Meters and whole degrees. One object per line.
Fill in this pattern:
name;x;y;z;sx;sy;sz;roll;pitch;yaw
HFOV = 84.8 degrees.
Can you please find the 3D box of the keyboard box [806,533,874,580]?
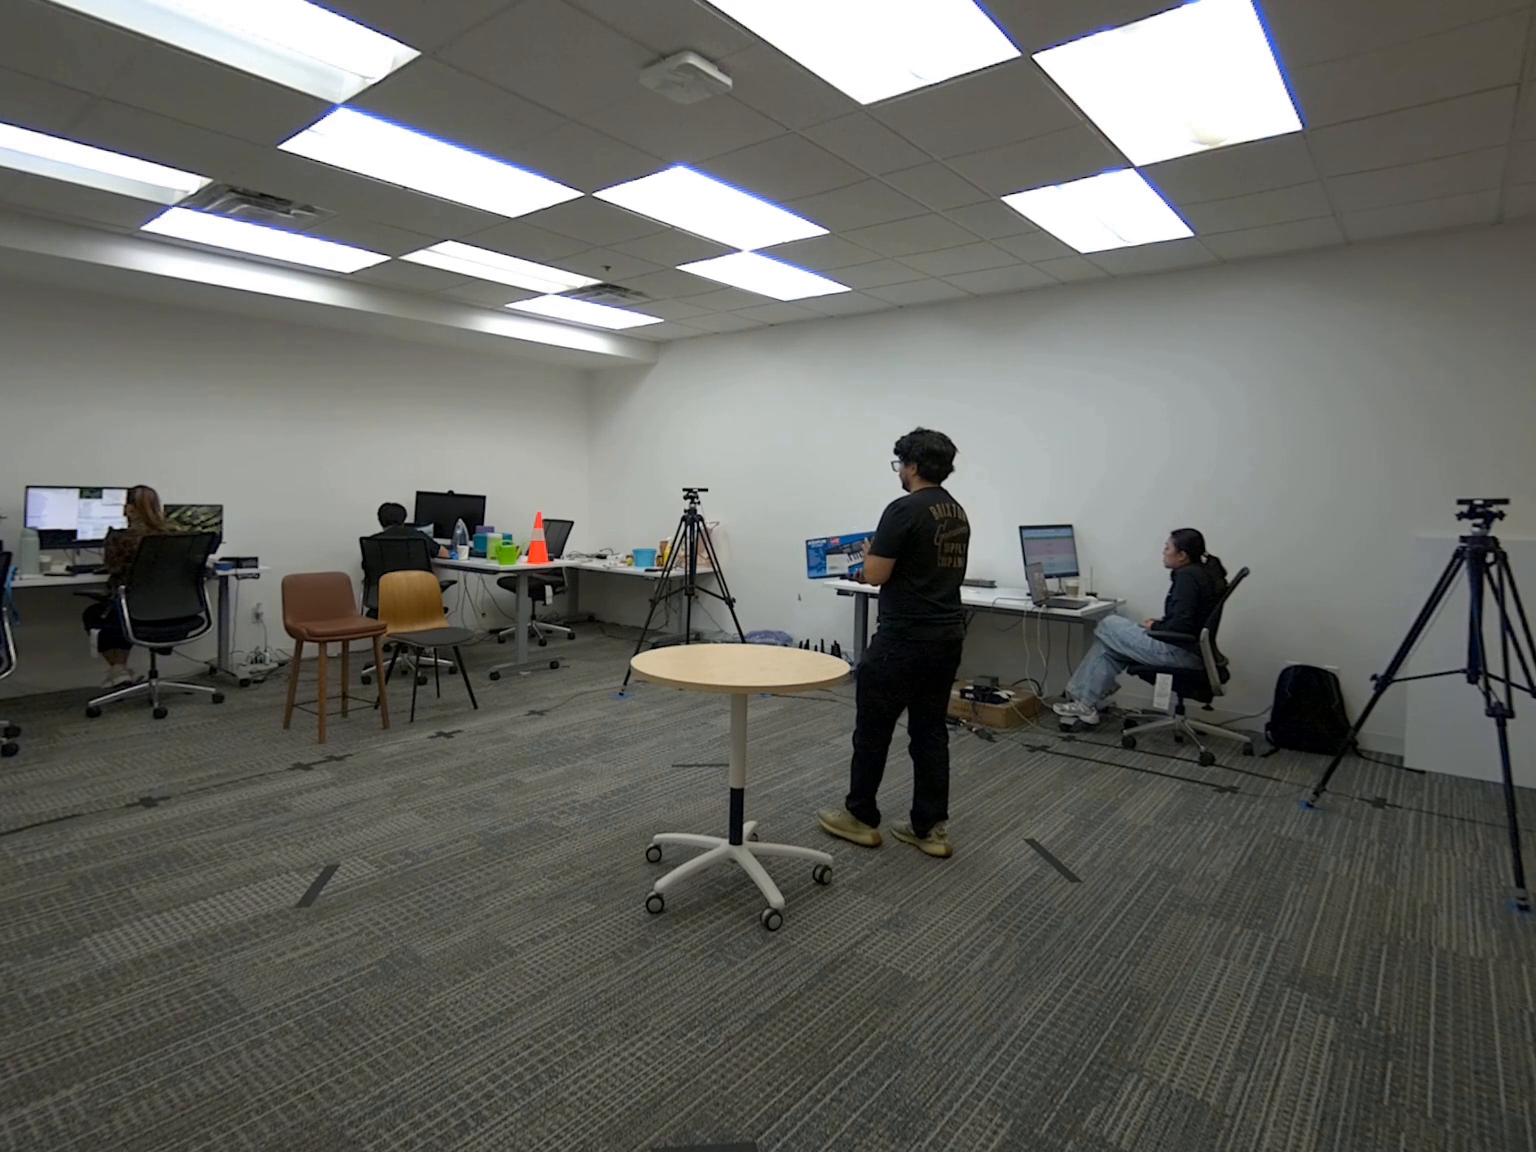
keyboard box;0.363;-0.096;3.640;0.448;0.177;0.057;-6;-9;31
